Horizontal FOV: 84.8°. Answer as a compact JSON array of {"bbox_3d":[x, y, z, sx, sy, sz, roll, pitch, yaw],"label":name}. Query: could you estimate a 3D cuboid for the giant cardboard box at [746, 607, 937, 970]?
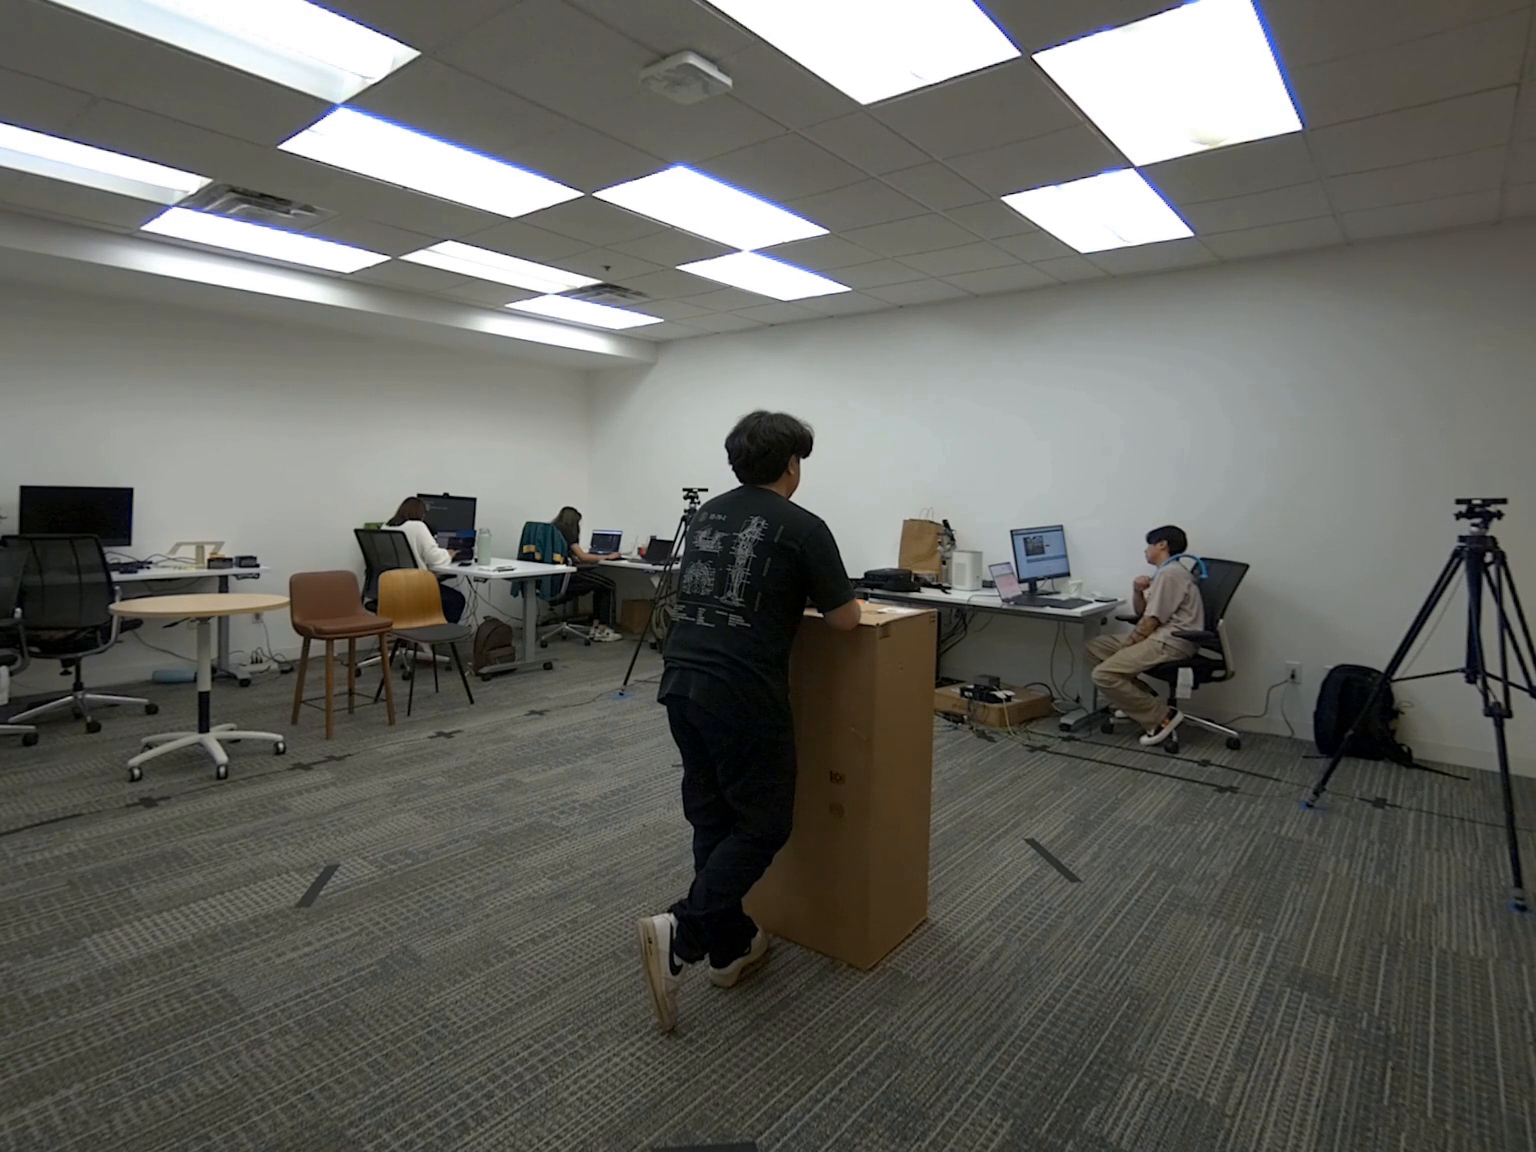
[{"bbox_3d":[0.180,0.600,2.782,0.603,1.024,0.433,4,4,37],"label":"giant cardboard box"}]
